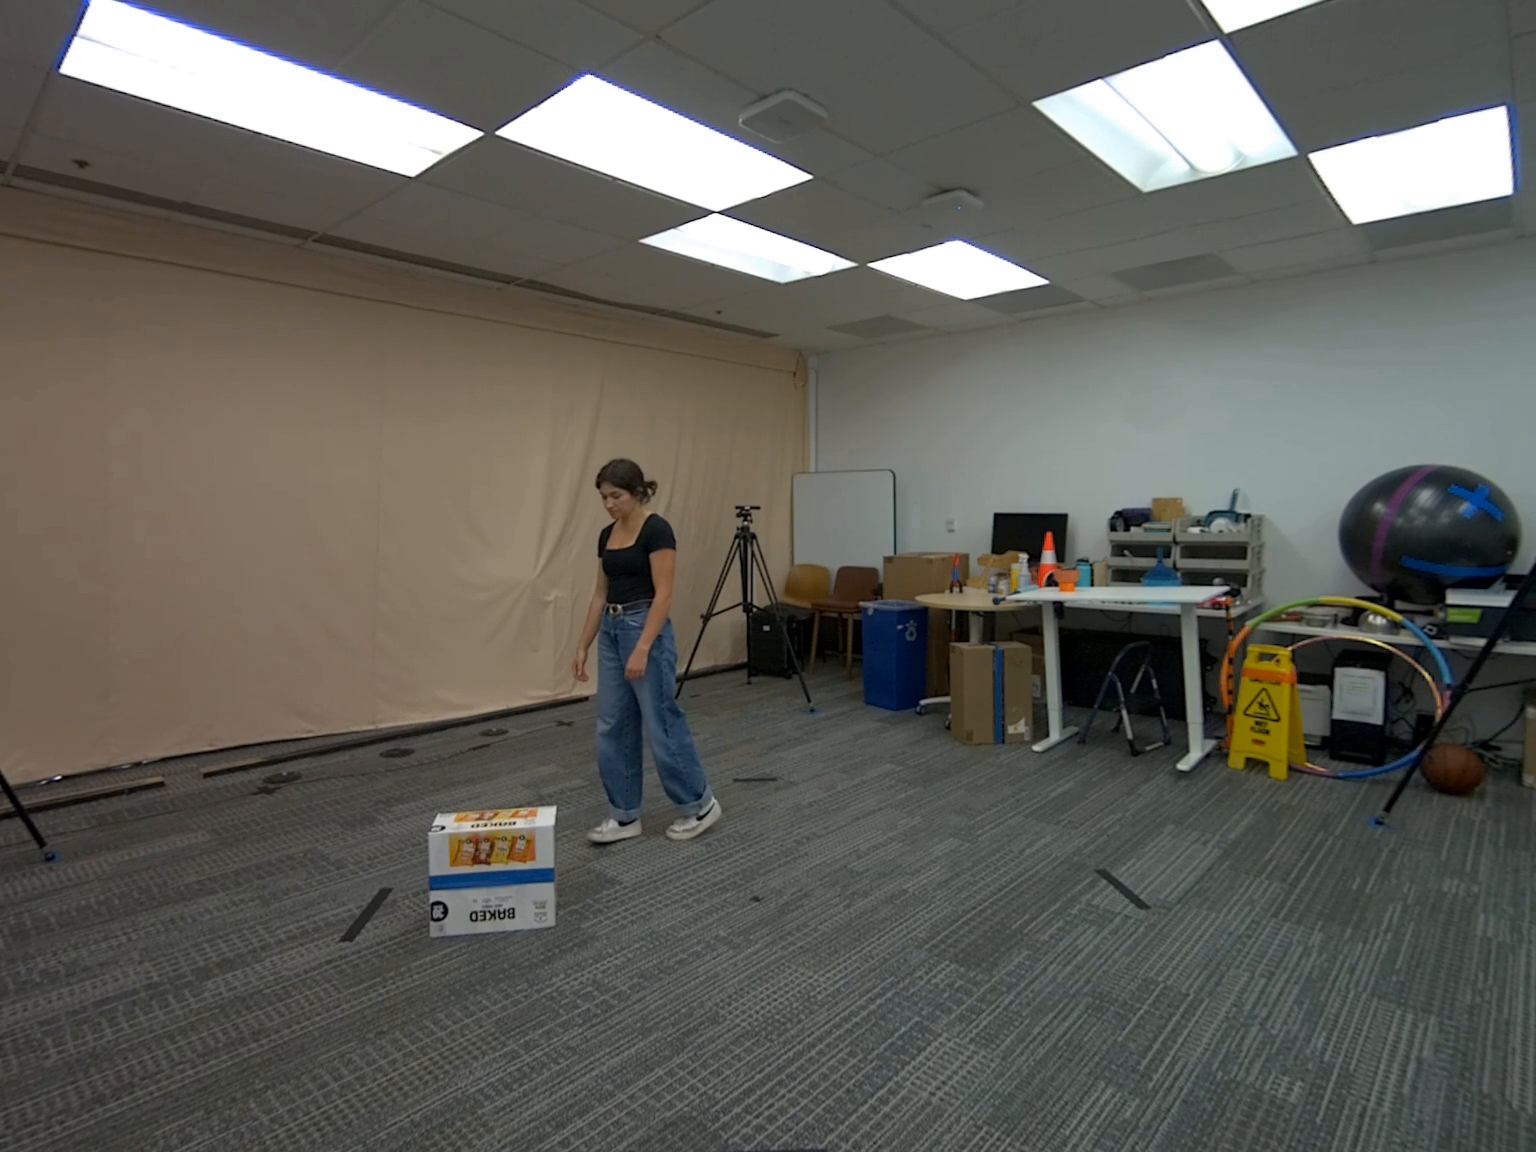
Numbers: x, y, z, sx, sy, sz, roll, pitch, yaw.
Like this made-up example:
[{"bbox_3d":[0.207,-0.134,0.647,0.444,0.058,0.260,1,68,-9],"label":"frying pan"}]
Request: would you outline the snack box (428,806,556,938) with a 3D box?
[{"bbox_3d":[-0.931,0.994,2.851,0.401,0.340,0.208,-1,1,-9],"label":"snack box"}]
